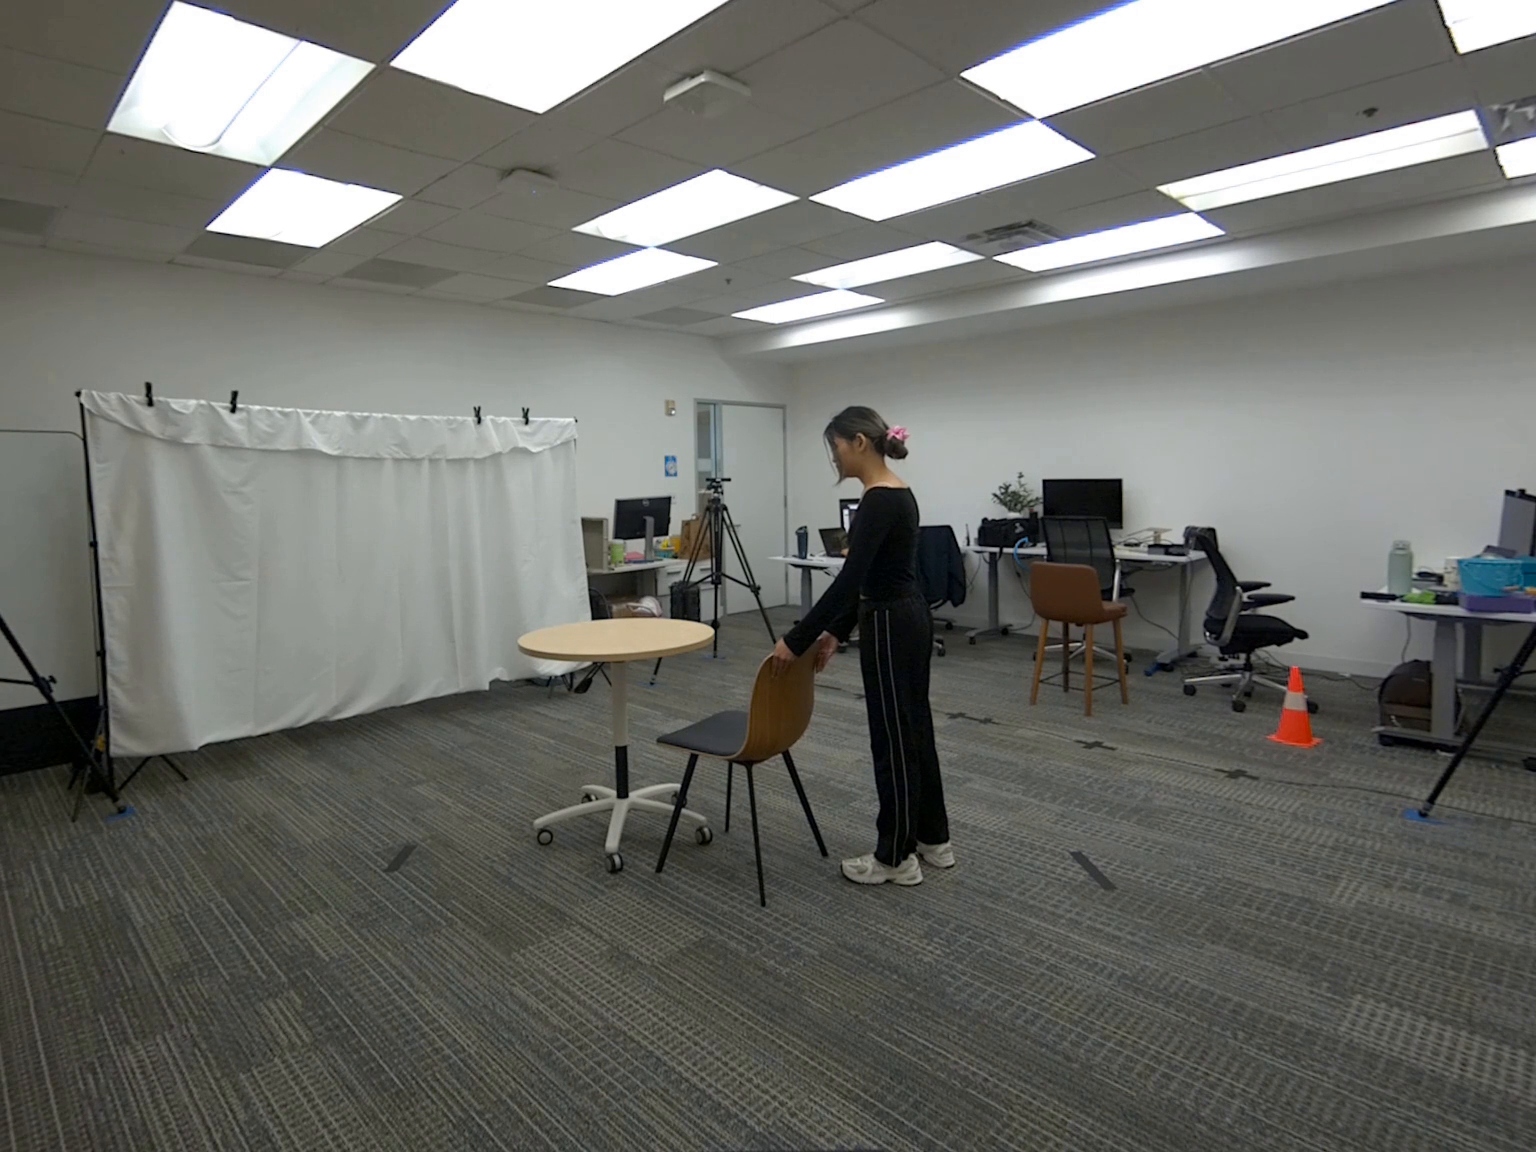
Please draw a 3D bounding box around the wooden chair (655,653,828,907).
[{"bbox_3d":[-0.097,0.619,3.060,0.539,0.872,0.467,7,8,33],"label":"wooden chair"}]
